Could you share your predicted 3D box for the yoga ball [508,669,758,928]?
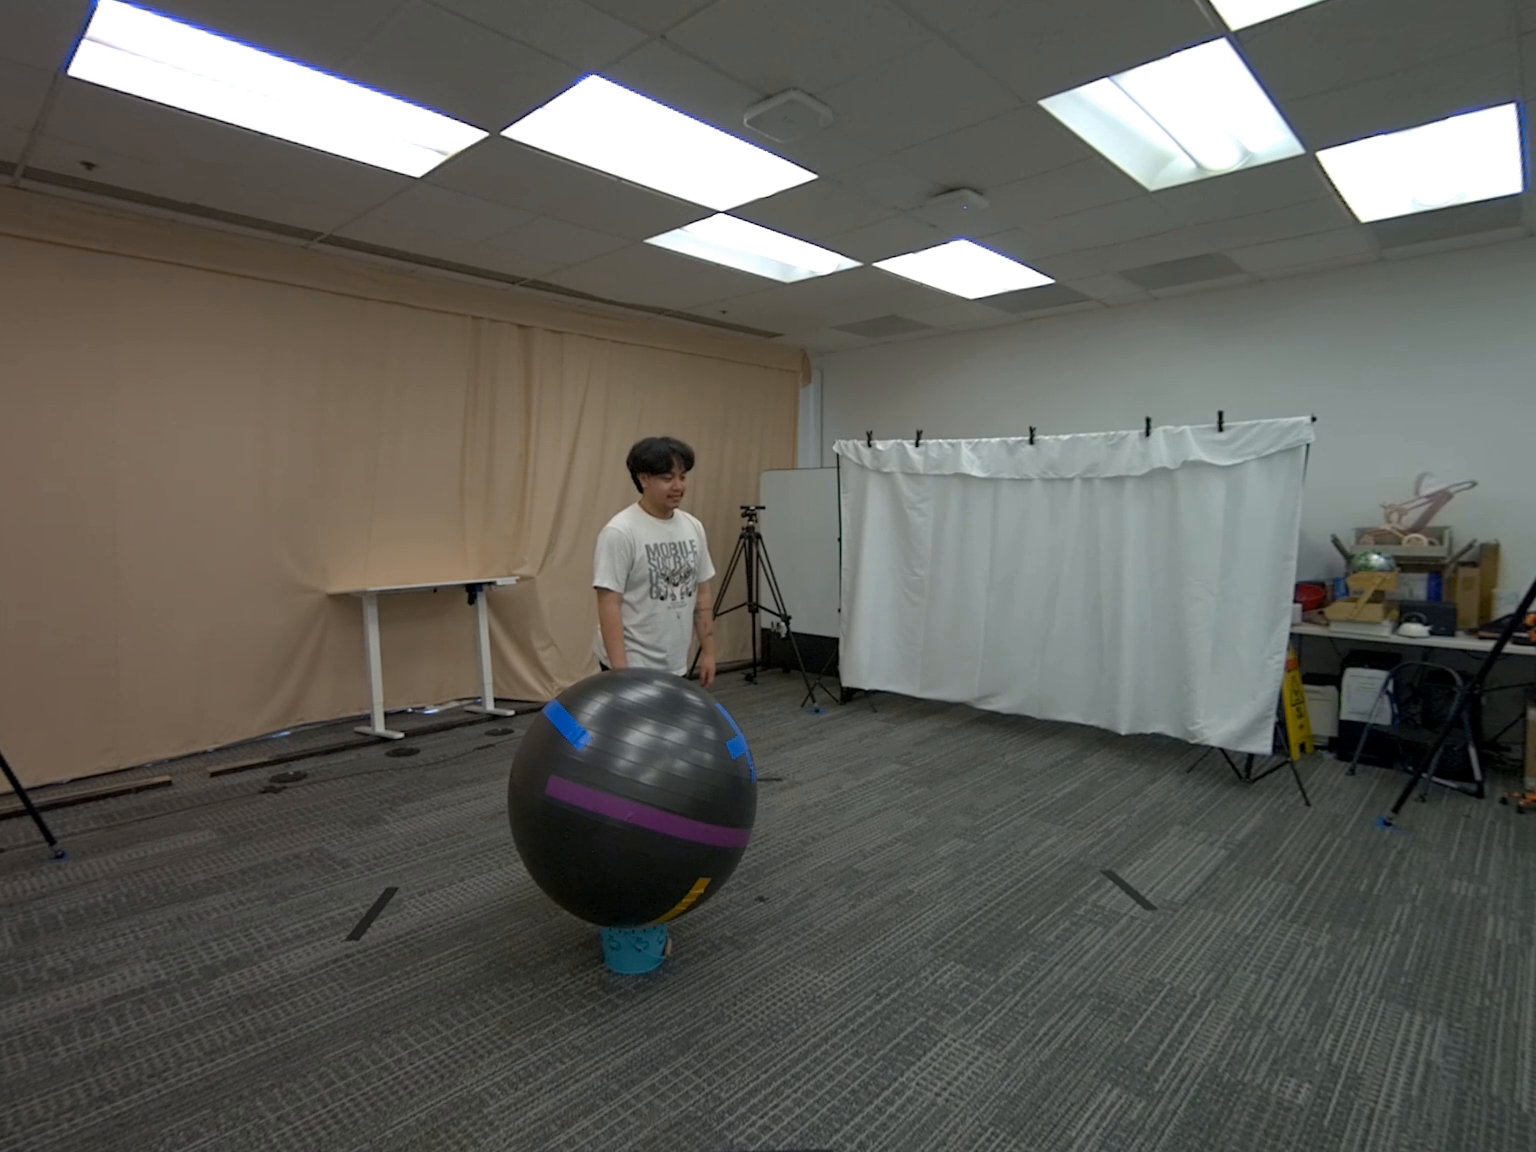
[{"bbox_3d":[-0.414,0.671,2.575,0.757,0.756,0.760,0,4,-2],"label":"yoga ball"}]
